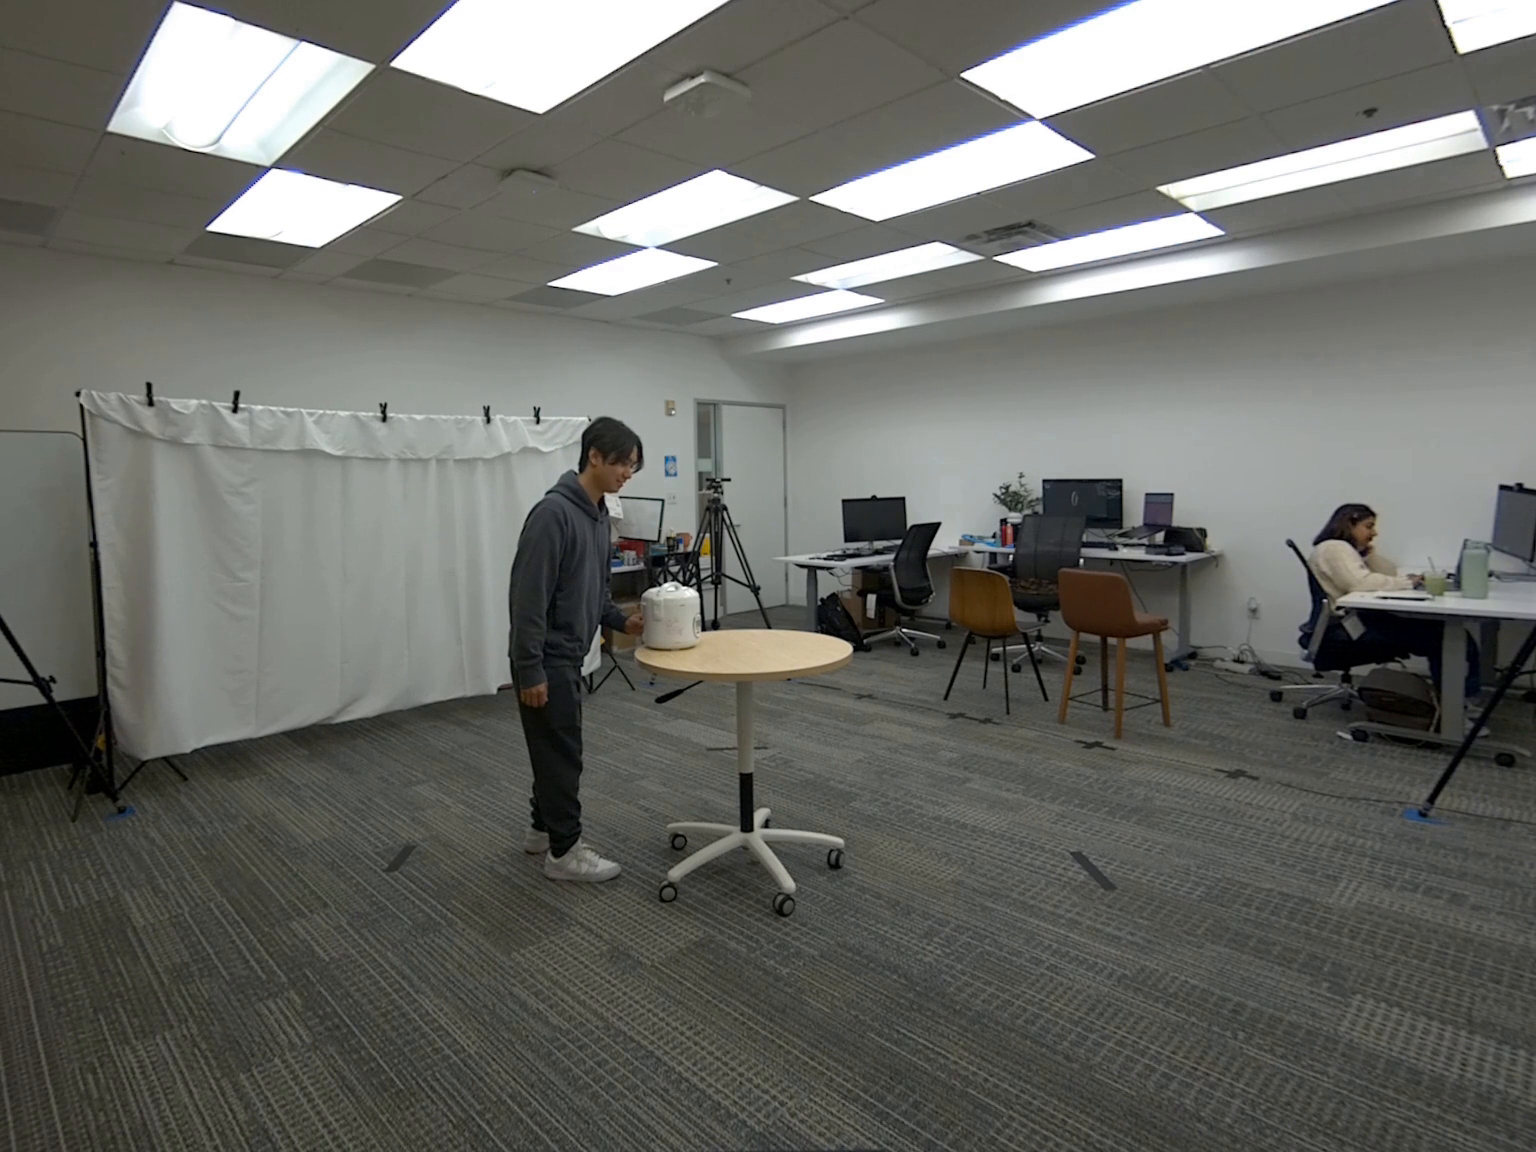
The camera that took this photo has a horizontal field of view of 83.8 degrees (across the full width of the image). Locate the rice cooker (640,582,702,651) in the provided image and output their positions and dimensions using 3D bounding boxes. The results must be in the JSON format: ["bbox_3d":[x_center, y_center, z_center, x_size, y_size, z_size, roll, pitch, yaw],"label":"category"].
[{"bbox_3d":[-0.351,0.137,3.087,0.222,0.232,0.217,0,5,23],"label":"rice cooker"}]
